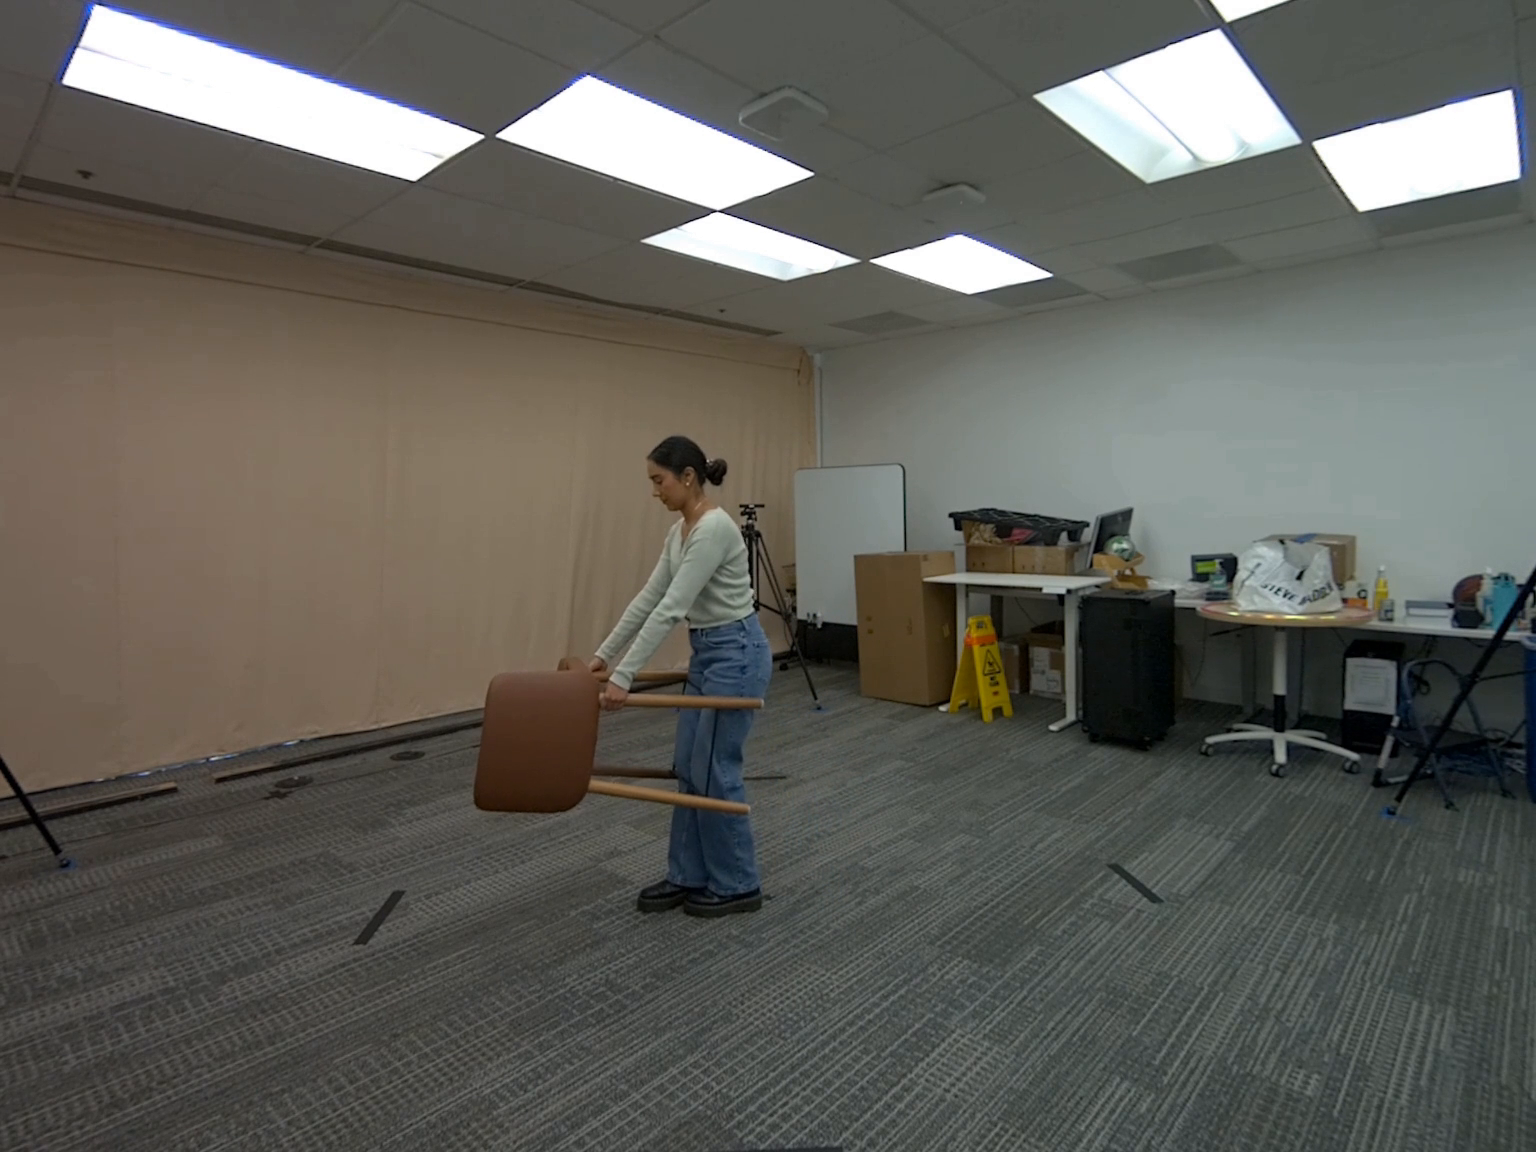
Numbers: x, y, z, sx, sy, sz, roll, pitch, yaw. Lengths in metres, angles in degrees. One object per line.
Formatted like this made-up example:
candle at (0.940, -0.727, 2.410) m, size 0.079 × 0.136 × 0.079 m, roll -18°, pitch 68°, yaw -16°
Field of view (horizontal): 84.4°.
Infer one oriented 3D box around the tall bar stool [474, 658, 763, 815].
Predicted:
tall bar stool at (-0.518, 0.530, 2.785) m, size 0.869 × 0.456 × 0.478 m, roll 7°, pitch 0°, yaw -22°
